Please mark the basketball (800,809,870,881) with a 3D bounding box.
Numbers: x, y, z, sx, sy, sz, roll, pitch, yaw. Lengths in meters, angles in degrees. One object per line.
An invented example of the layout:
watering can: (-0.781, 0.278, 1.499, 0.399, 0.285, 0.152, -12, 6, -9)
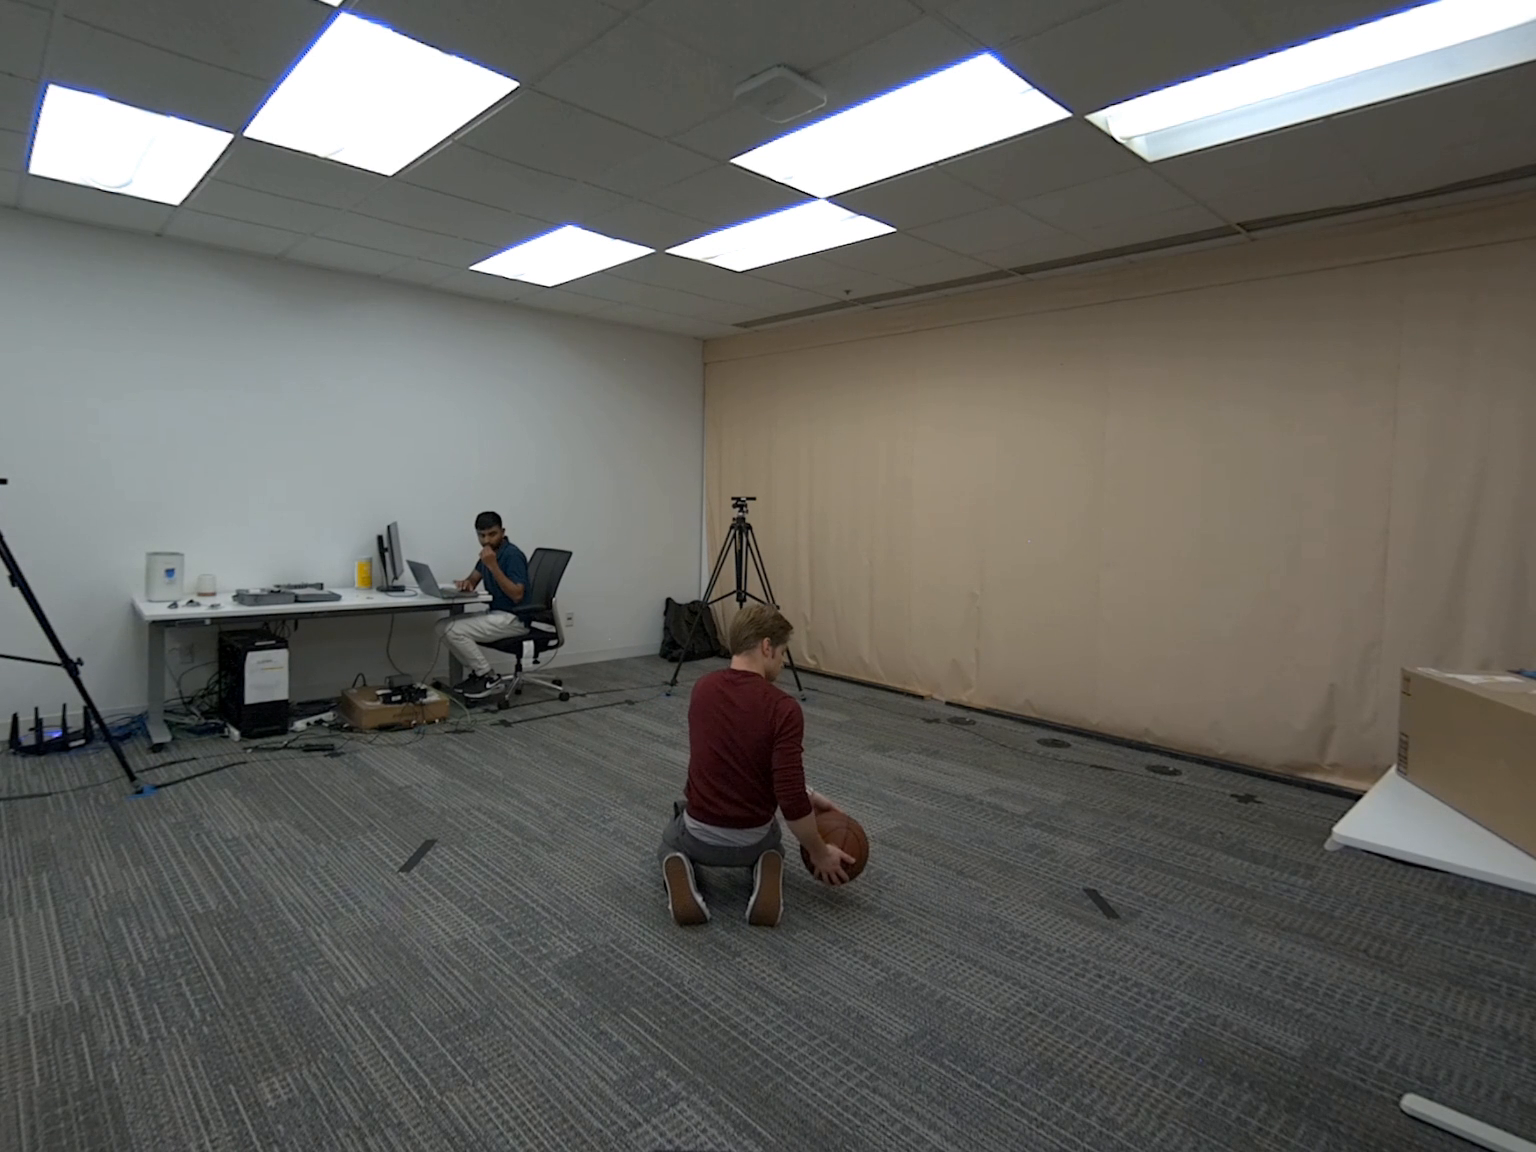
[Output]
basketball: (0.221, 0.930, 2.938, 0.236, 0.235, 0.237, 1, 4, -1)
